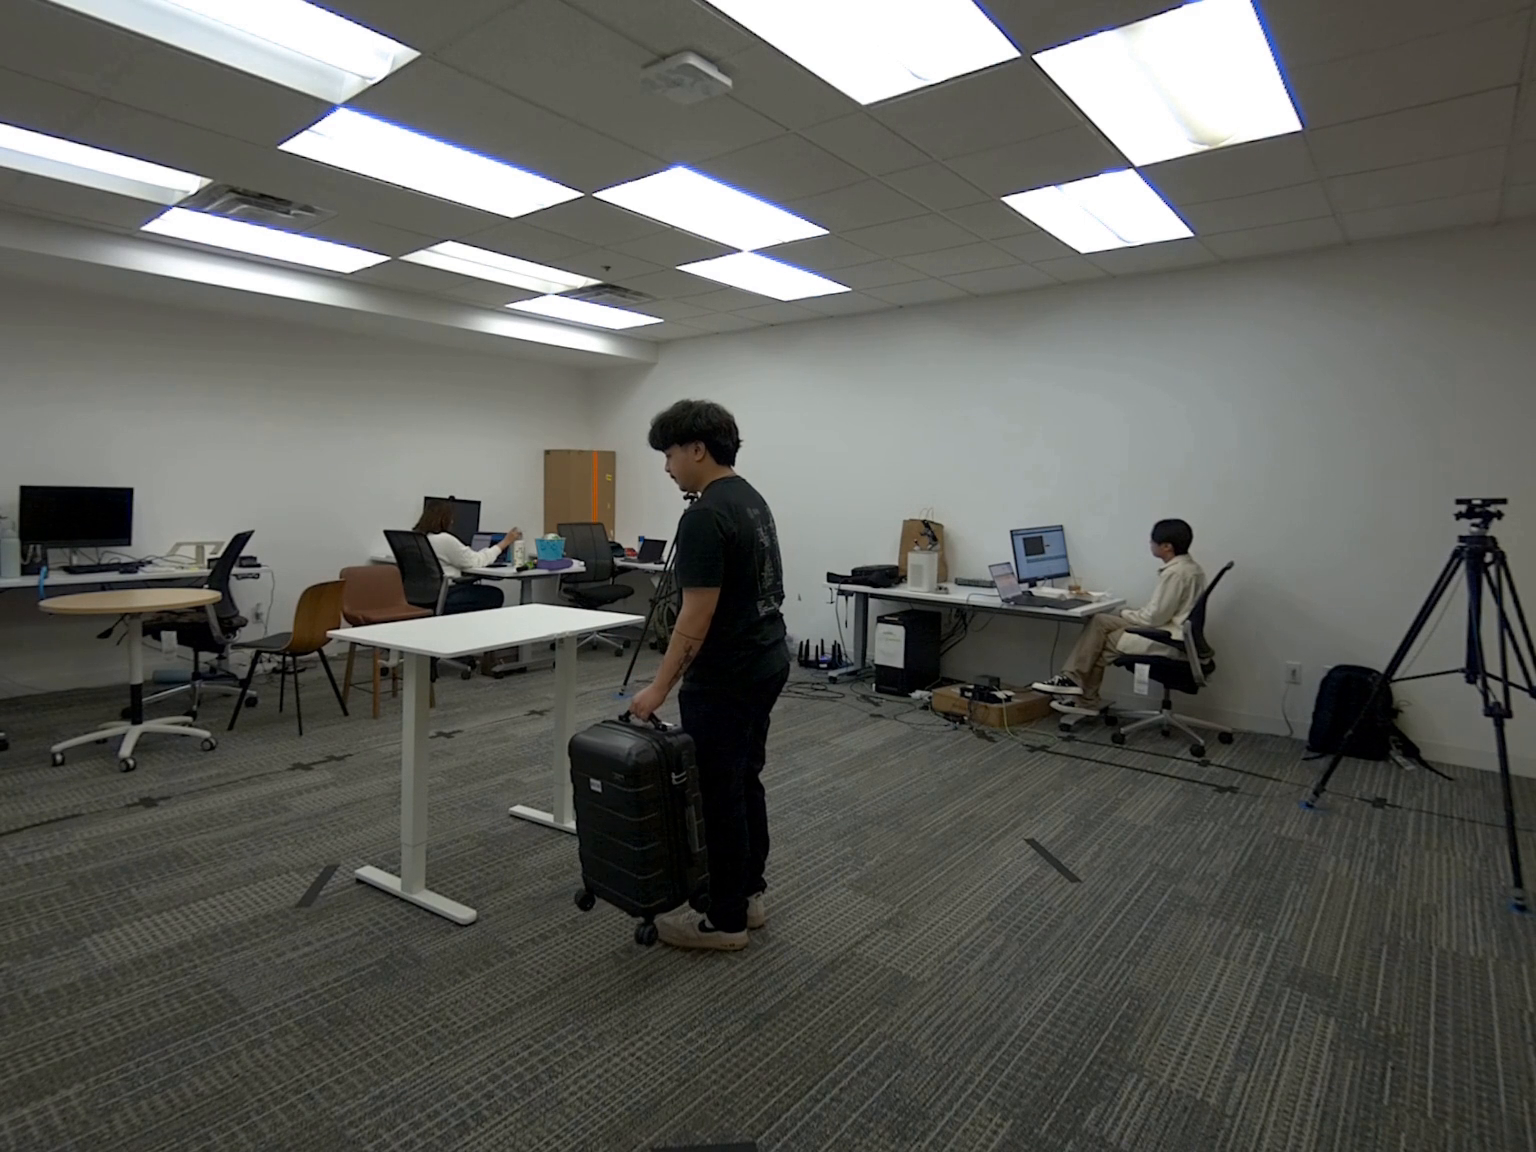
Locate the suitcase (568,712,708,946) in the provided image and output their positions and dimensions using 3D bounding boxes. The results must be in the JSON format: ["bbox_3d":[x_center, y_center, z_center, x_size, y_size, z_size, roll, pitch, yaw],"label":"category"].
[{"bbox_3d":[-0.391,0.693,2.470,0.241,0.547,0.387,-8,7,-42],"label":"suitcase"}]
